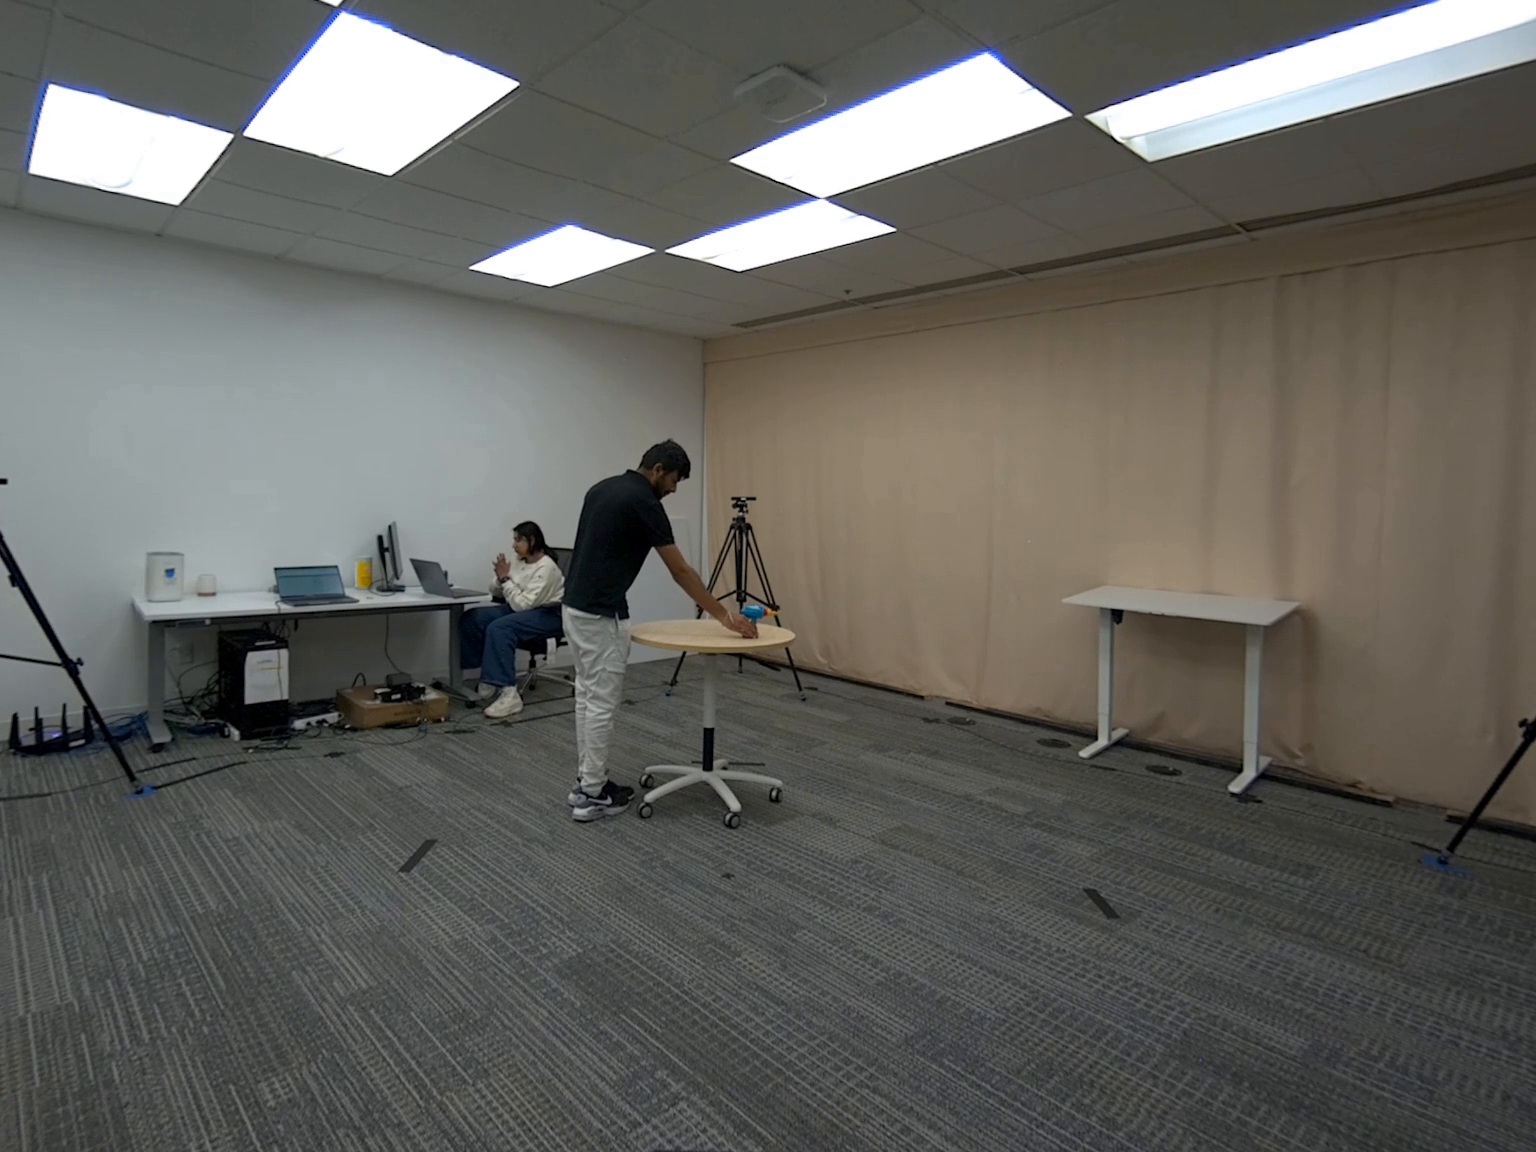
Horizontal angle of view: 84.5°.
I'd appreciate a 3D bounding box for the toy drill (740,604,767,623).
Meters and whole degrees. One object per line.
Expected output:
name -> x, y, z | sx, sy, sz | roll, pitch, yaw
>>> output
toy drill -> -0.055, 0.199, 3.736 | 0.168, 0.145, 0.062 | 2, 7, -8
